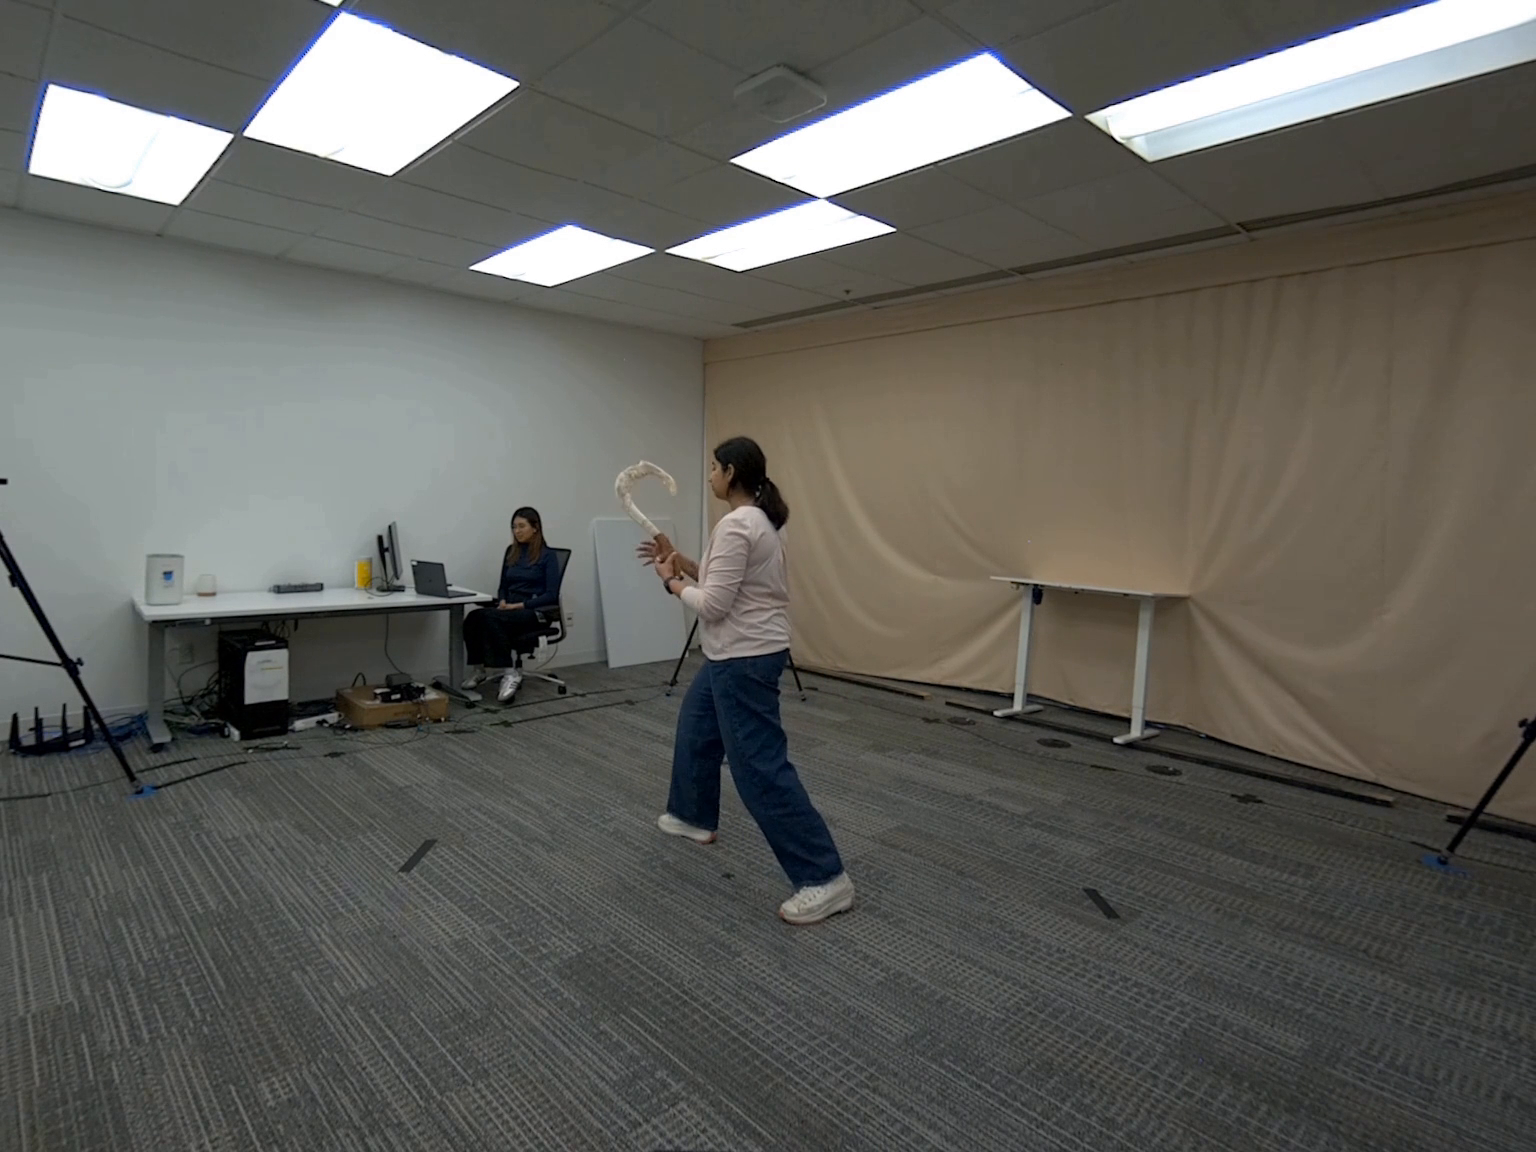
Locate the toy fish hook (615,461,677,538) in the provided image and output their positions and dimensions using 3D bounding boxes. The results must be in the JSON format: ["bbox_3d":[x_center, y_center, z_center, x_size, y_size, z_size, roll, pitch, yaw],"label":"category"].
[{"bbox_3d":[-0.412,-0.220,3.212,0.224,0.514,0.047,-27,-15,-2],"label":"toy fish hook"}]
